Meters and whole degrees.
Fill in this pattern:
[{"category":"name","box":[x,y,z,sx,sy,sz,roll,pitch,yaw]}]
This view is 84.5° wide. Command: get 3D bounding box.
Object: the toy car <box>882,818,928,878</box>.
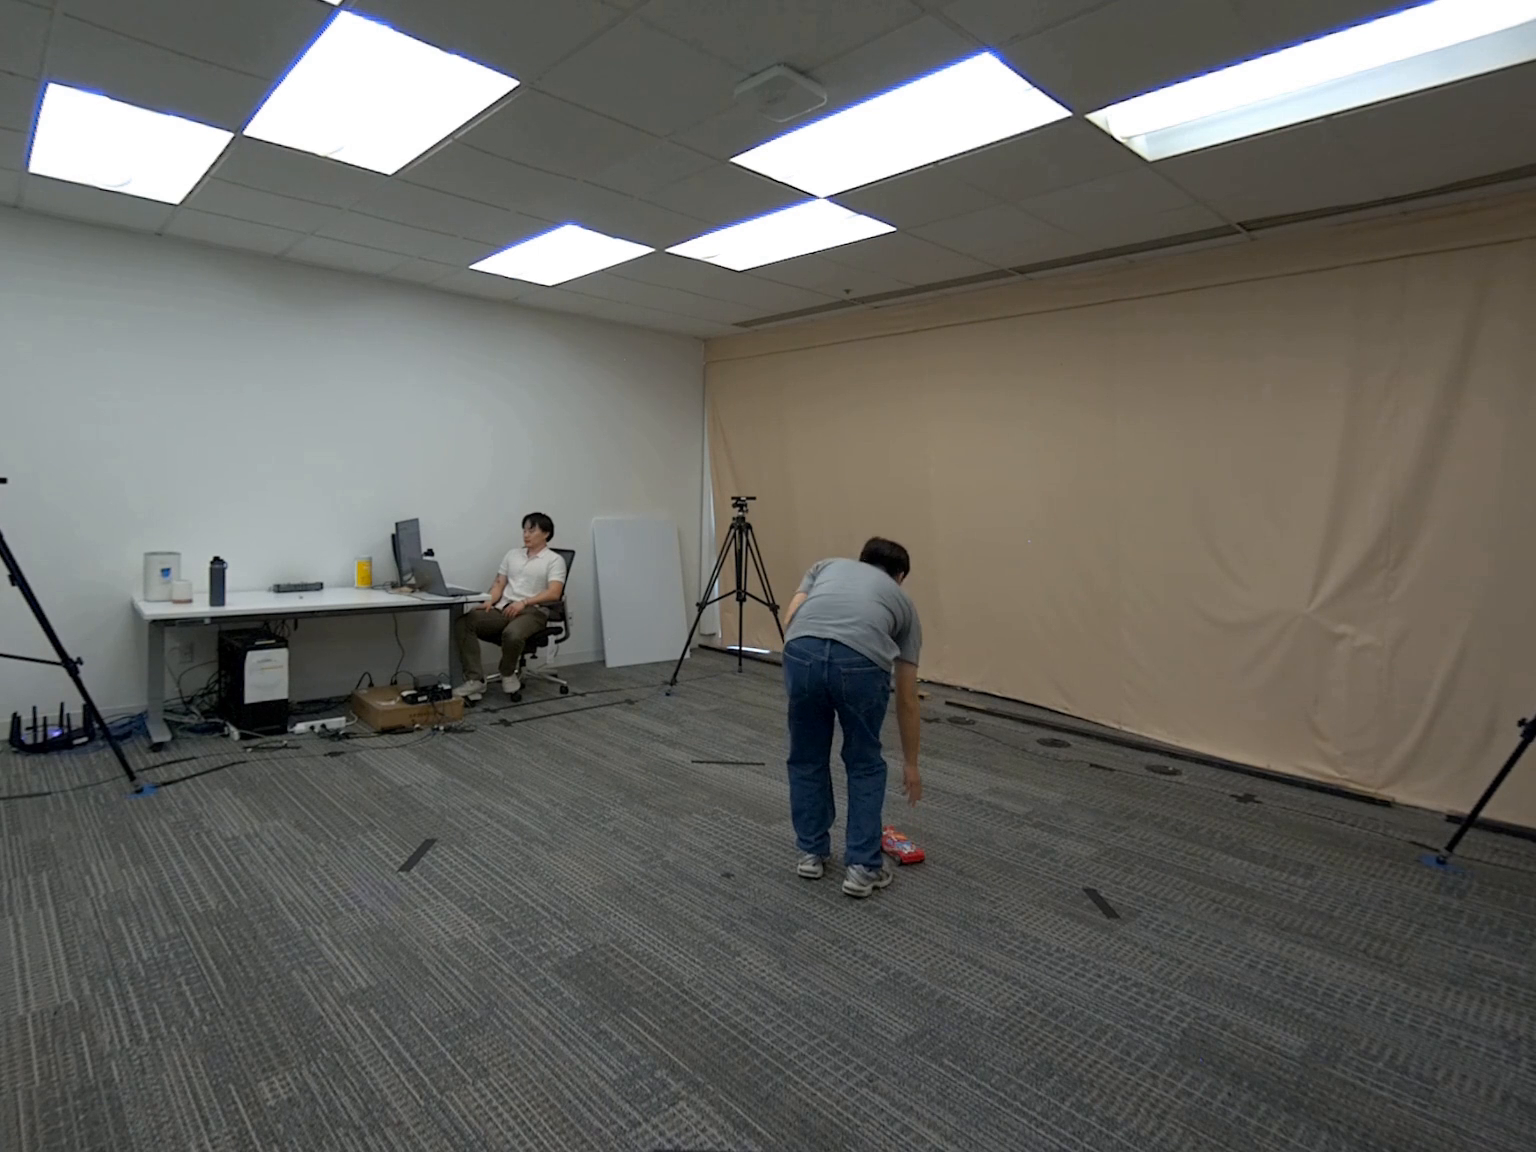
[{"category":"toy car","box":[0.499,1.069,3.343,0.128,0.082,0.261,1,16,-22]}]
